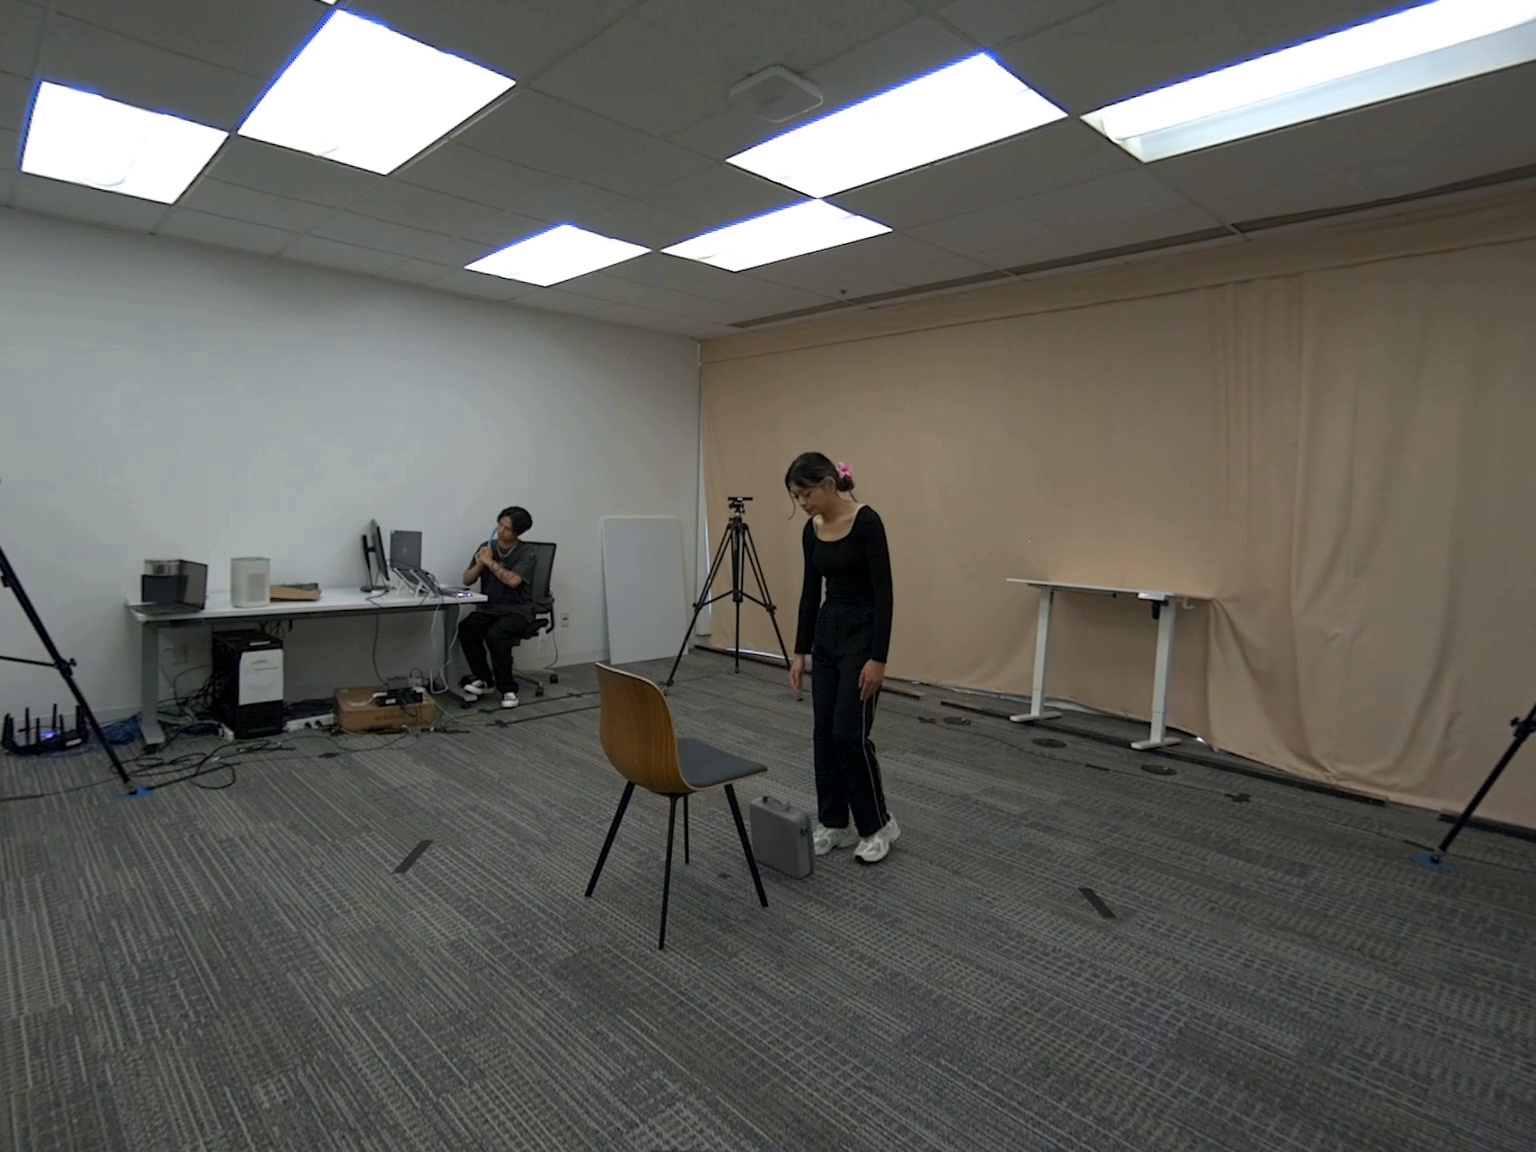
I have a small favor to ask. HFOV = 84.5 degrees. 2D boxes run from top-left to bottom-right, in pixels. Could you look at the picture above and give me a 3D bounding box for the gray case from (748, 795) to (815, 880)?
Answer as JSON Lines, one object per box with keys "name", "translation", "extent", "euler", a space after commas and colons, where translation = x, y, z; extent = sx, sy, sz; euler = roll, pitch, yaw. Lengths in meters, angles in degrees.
{"name": "gray case", "translation": [0.045, 0.975, 3.167], "extent": [0.102, 0.258, 0.263], "euler": [-14, 13, -41]}
